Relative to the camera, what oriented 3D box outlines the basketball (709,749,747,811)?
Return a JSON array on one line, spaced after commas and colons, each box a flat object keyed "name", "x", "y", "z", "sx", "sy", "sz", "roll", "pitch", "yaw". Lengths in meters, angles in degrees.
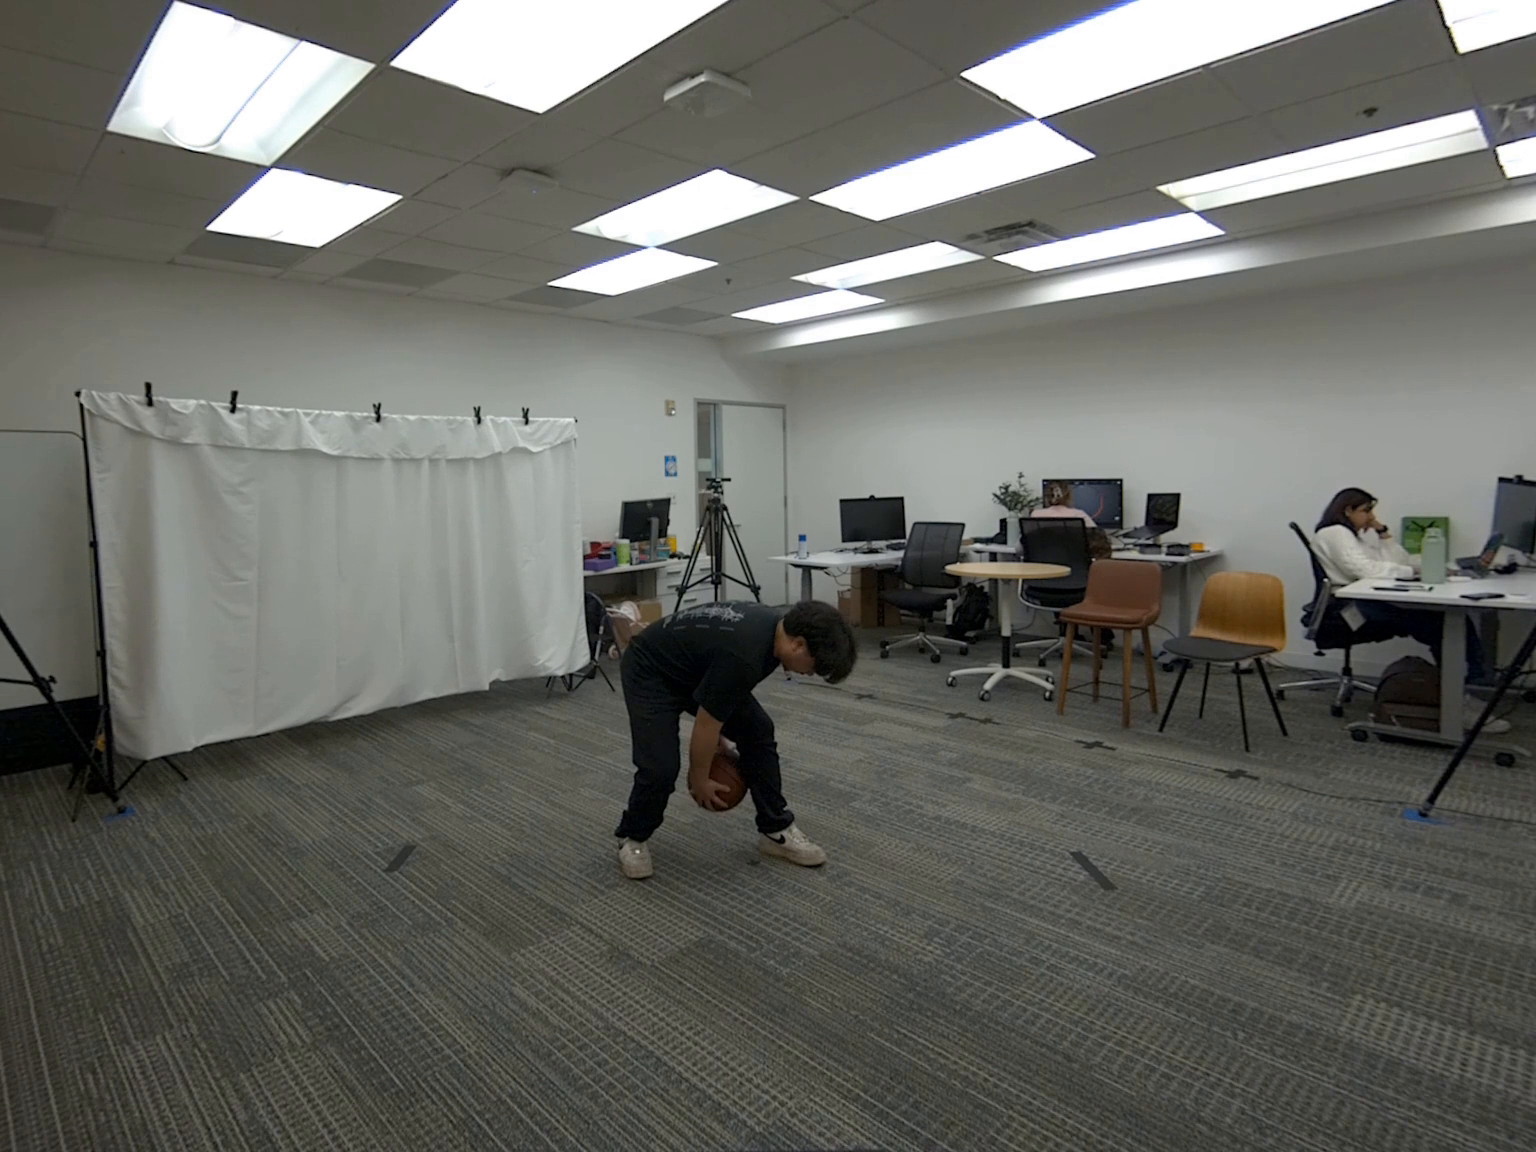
[{"name": "basketball", "x": -0.188, "y": 0.754, "z": 3.234, "sx": 0.236, "sy": 0.235, "sz": 0.237, "roll": -1, "pitch": 5, "yaw": -2}]
